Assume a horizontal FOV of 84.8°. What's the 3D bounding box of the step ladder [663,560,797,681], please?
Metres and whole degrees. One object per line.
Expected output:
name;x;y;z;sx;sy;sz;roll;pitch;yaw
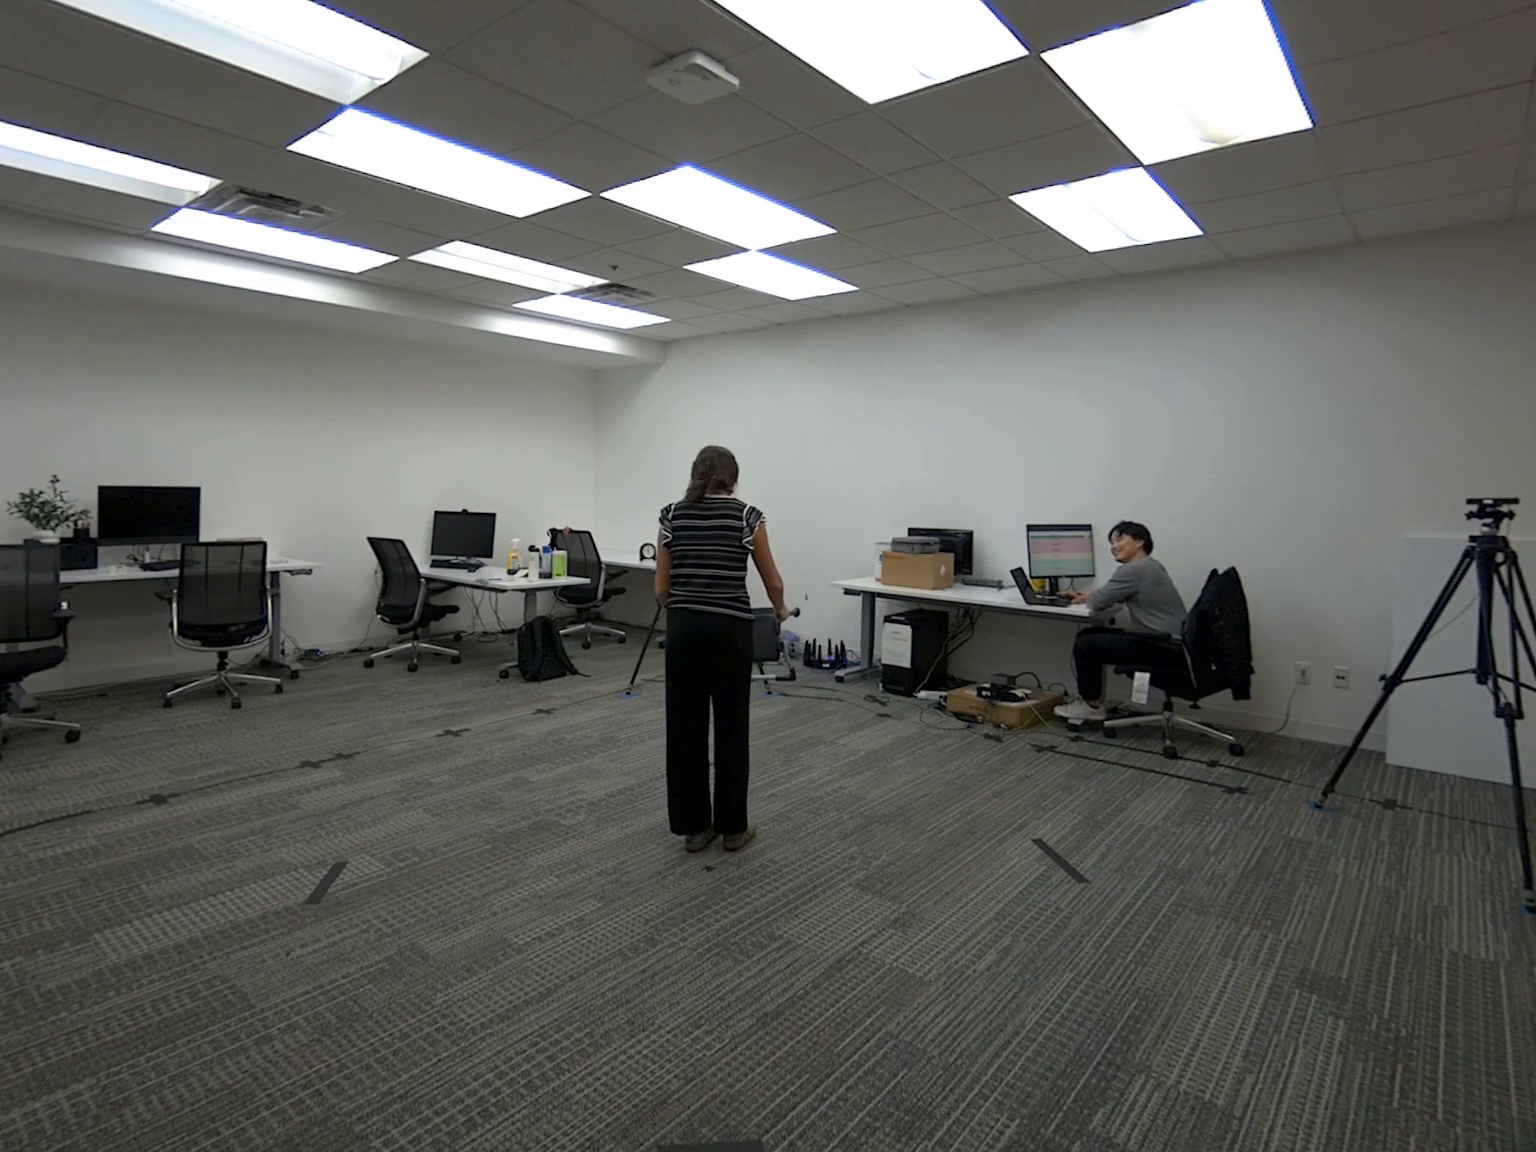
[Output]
step ladder;-0.149;0.211;3.701;0.437;0.356;0.585;-4;-23;14
